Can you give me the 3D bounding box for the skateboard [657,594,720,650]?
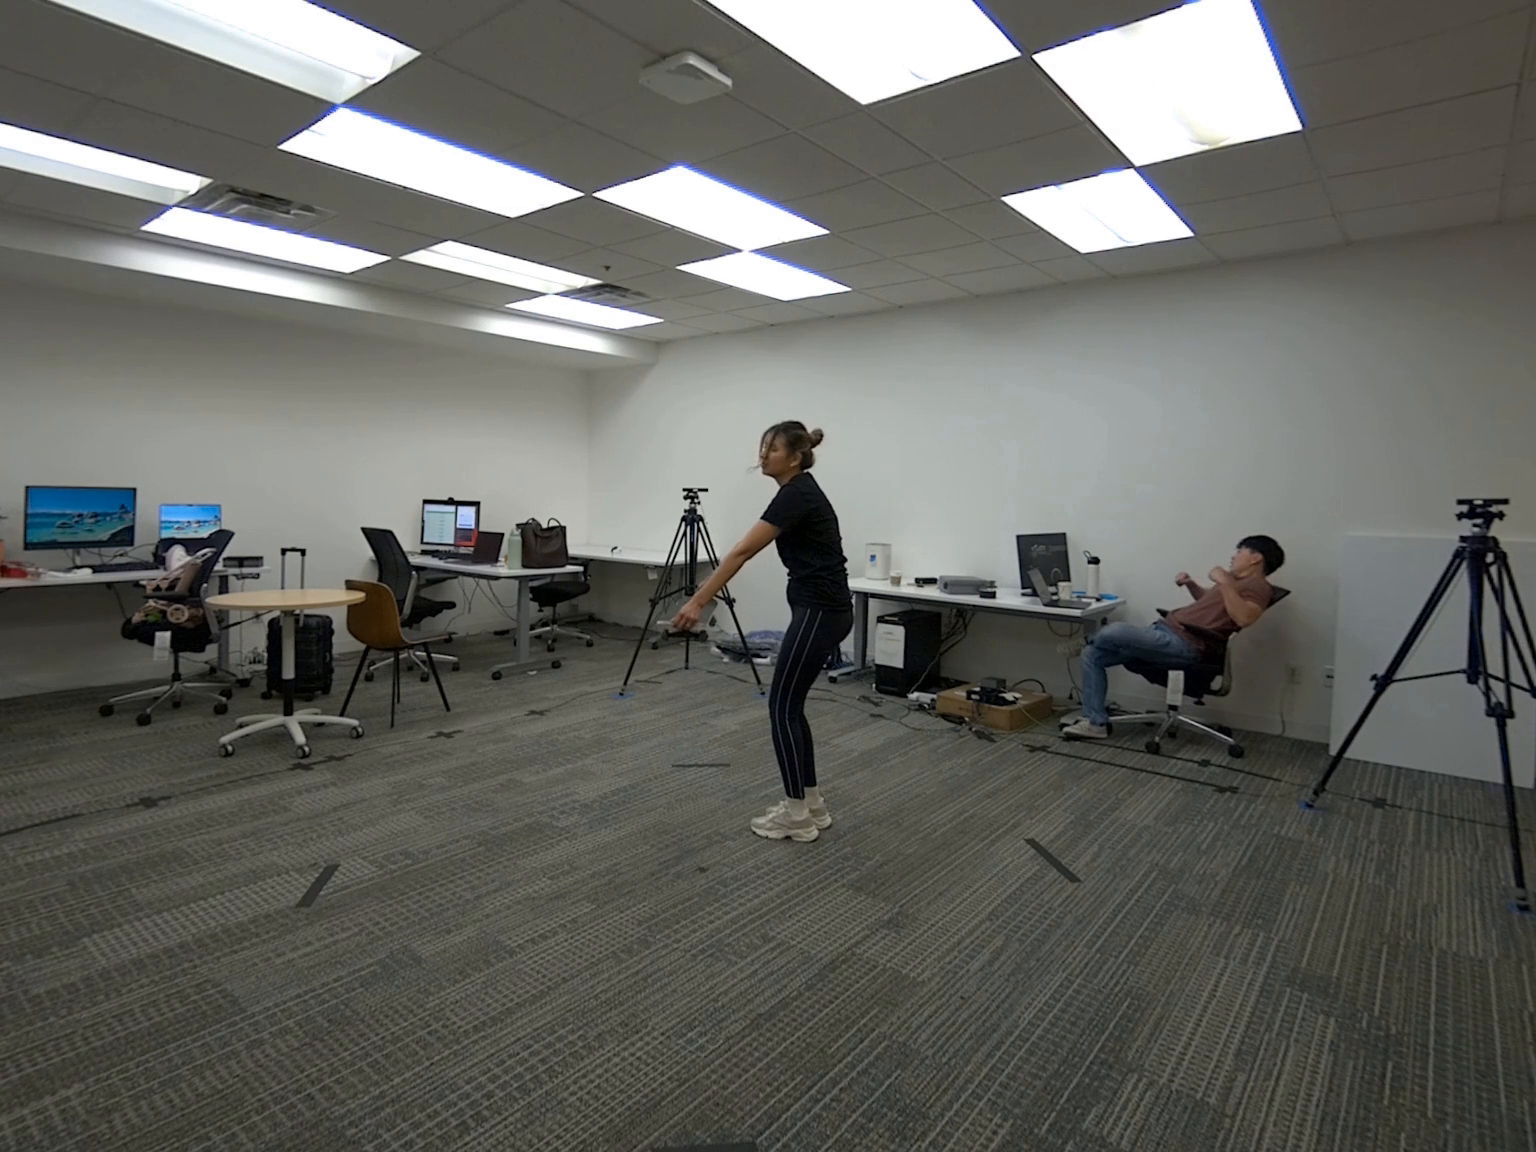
[{"bbox_3d":[-0.327,0.181,3.583,0.194,0.110,0.787,-1,6,0],"label":"skateboard"}]
